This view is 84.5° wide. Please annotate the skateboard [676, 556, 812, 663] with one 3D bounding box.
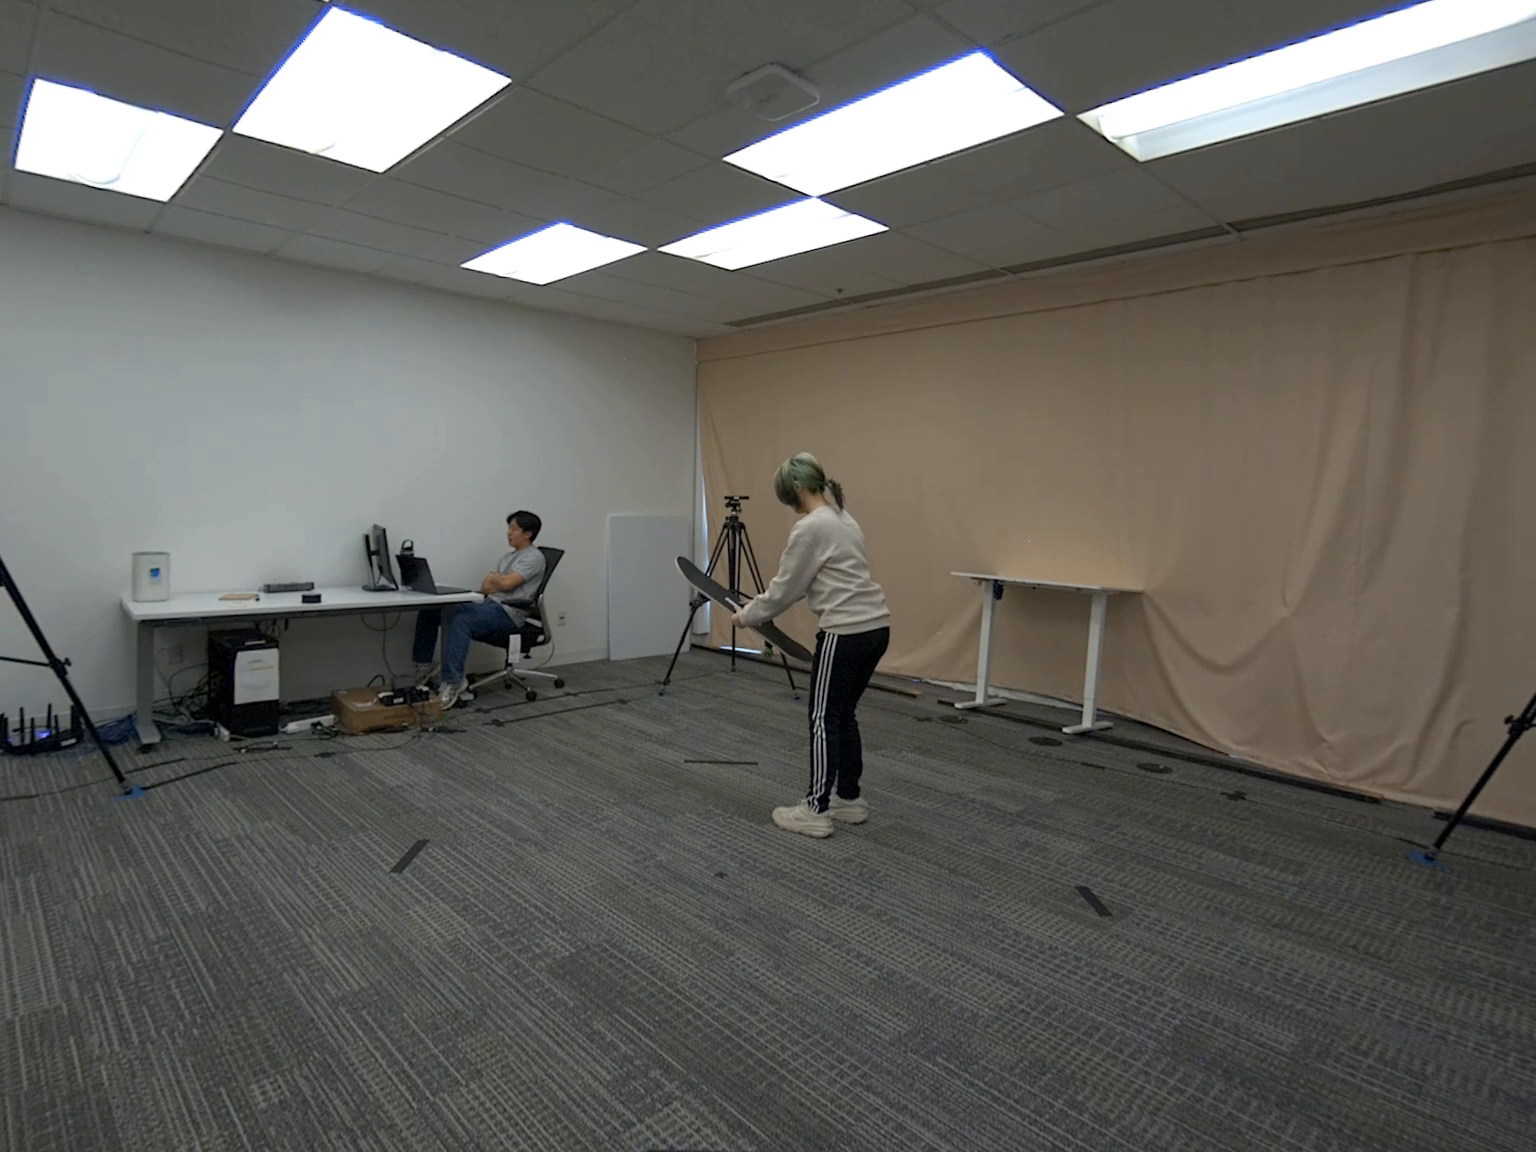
[{"bbox_3d":[-0.132,0.192,3.888,0.783,0.110,0.194,37,17,-3],"label":"skateboard"}]
